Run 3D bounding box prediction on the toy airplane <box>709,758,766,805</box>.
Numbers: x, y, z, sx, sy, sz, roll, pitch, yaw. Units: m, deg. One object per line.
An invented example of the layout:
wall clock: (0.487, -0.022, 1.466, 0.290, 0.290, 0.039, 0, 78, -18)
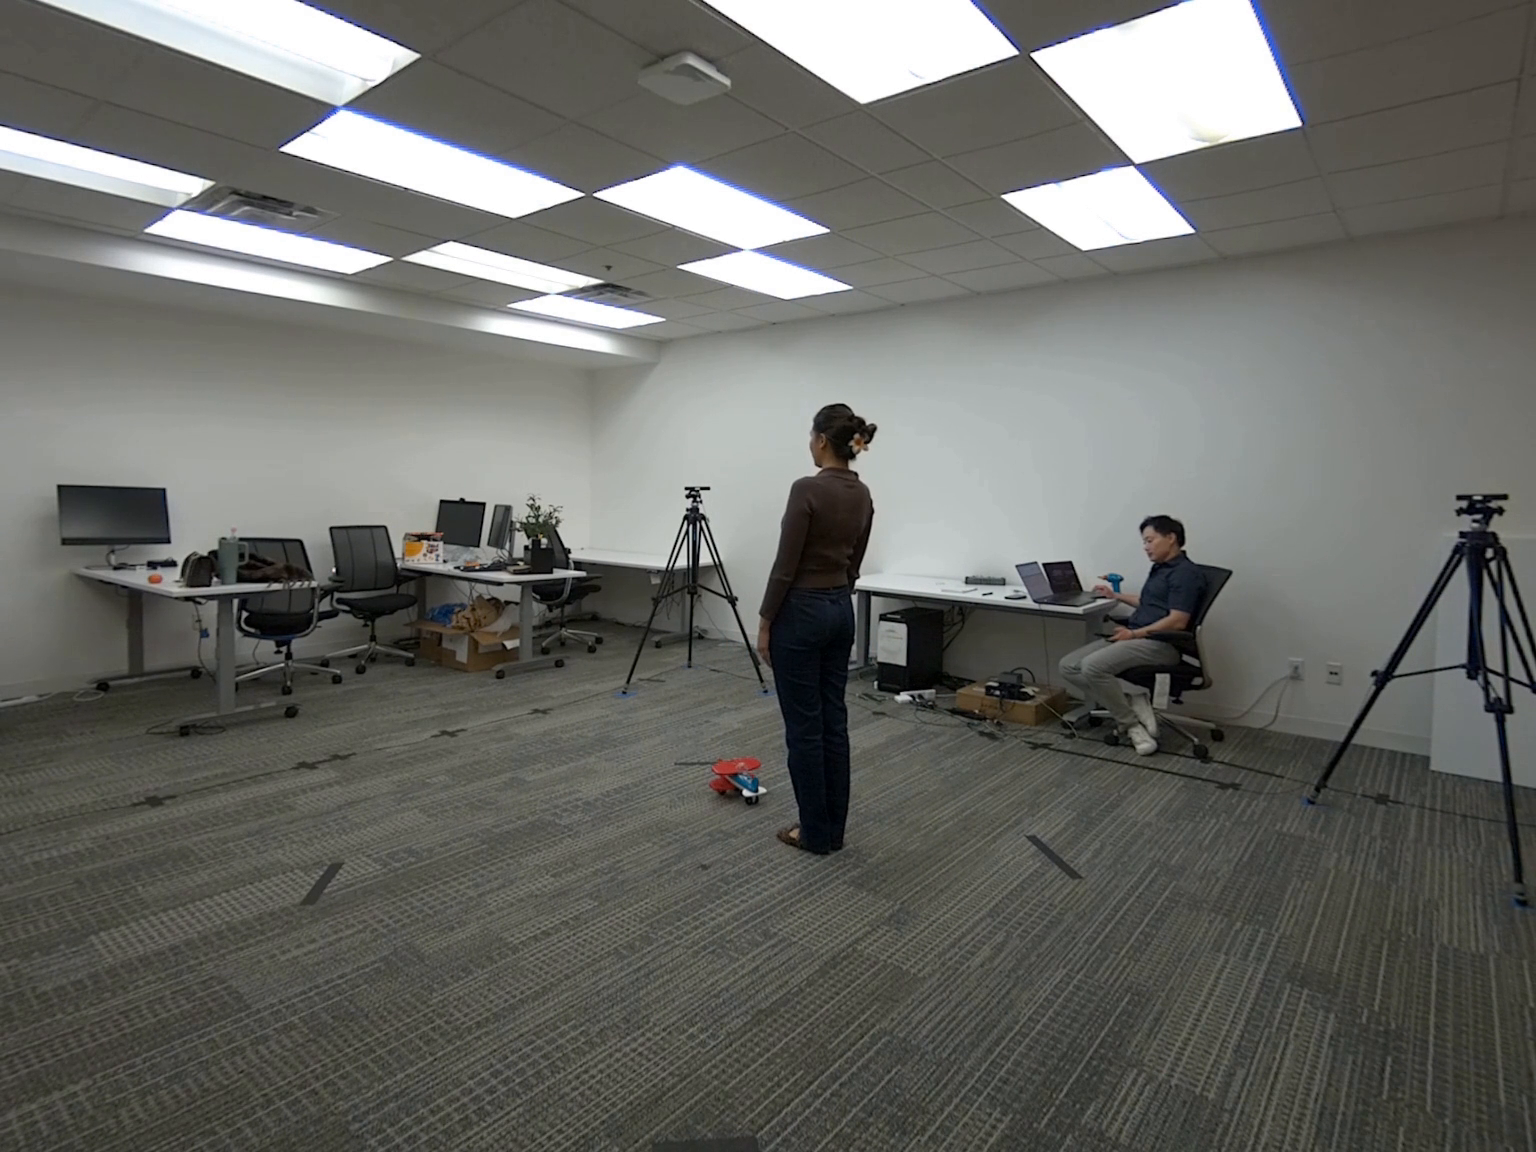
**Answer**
toy airplane: (-0.125, 0.918, 3.841, 0.266, 0.156, 0.245, 3, 4, 25)
